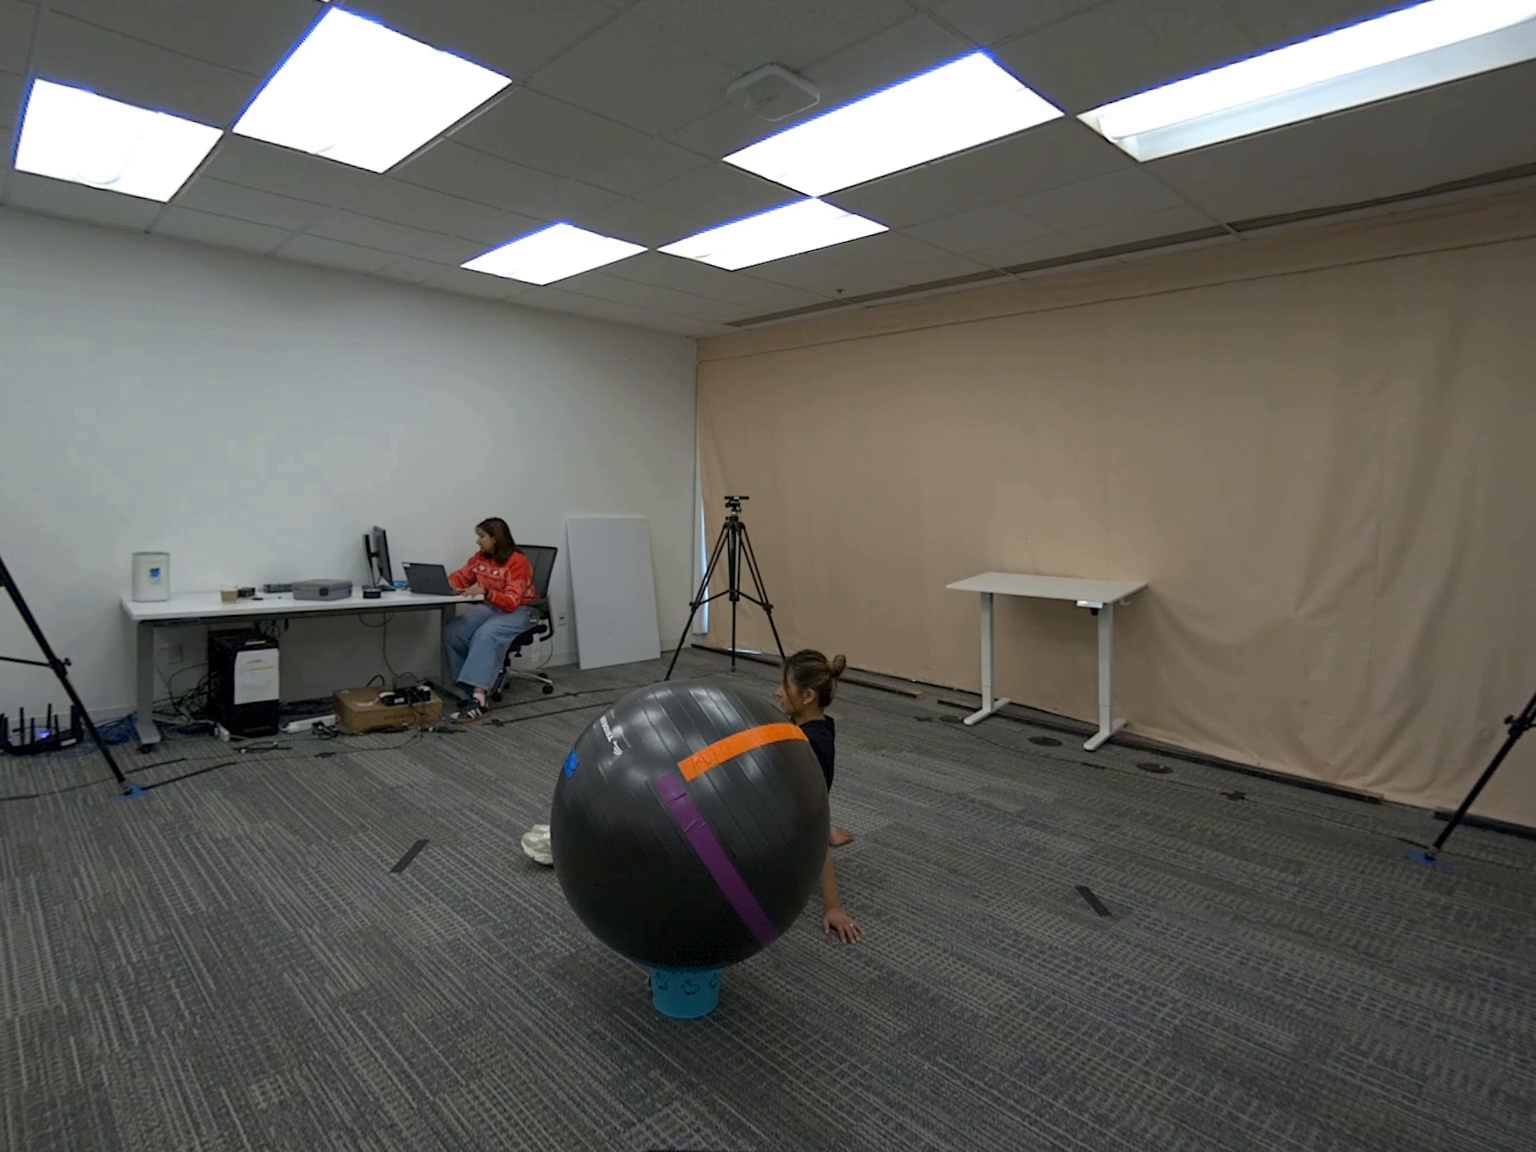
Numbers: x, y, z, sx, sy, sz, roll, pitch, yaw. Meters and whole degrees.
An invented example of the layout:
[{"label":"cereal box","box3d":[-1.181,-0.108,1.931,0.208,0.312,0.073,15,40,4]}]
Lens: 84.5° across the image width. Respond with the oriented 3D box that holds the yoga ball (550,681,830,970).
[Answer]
[{"label":"yoga ball","box3d":[-0.212,0.670,2.296,0.757,0.756,0.761,1,4,-1]}]
